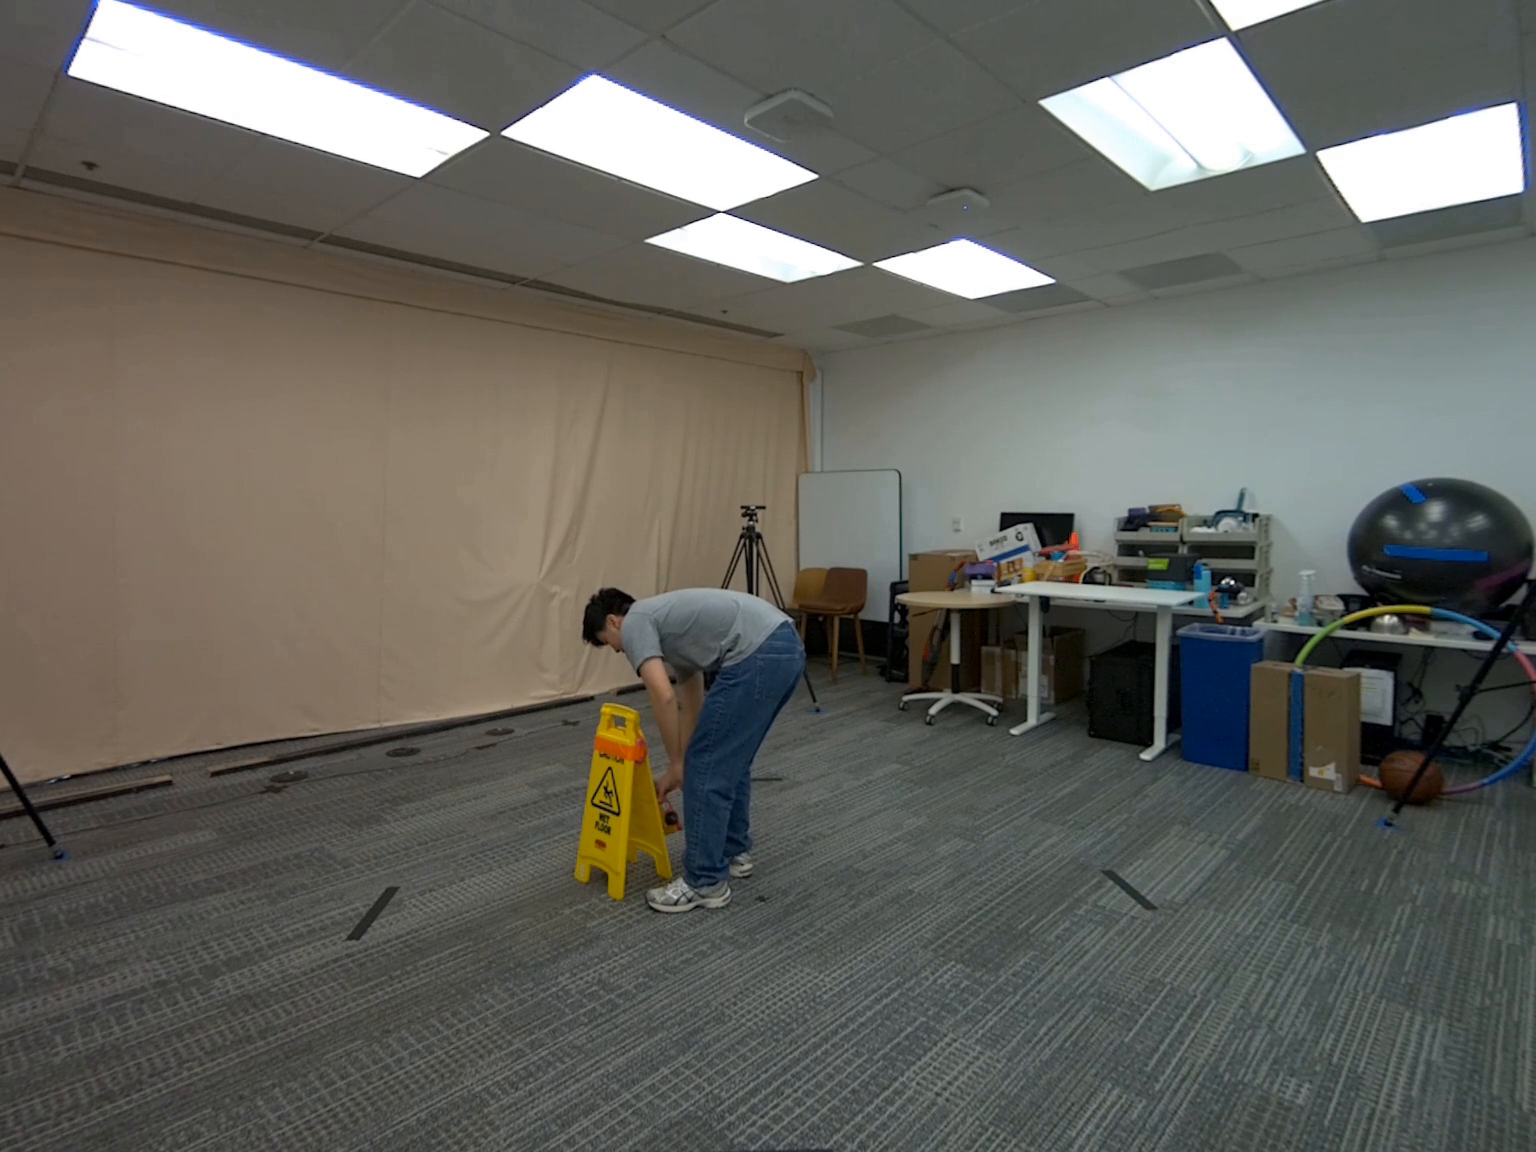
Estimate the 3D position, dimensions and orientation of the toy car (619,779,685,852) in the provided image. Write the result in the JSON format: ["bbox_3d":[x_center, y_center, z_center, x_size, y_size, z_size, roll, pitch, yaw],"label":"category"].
[{"bbox_3d":[-0.437,0.927,3.280,0.132,0.251,0.083,-31,13,31],"label":"toy car"}]
